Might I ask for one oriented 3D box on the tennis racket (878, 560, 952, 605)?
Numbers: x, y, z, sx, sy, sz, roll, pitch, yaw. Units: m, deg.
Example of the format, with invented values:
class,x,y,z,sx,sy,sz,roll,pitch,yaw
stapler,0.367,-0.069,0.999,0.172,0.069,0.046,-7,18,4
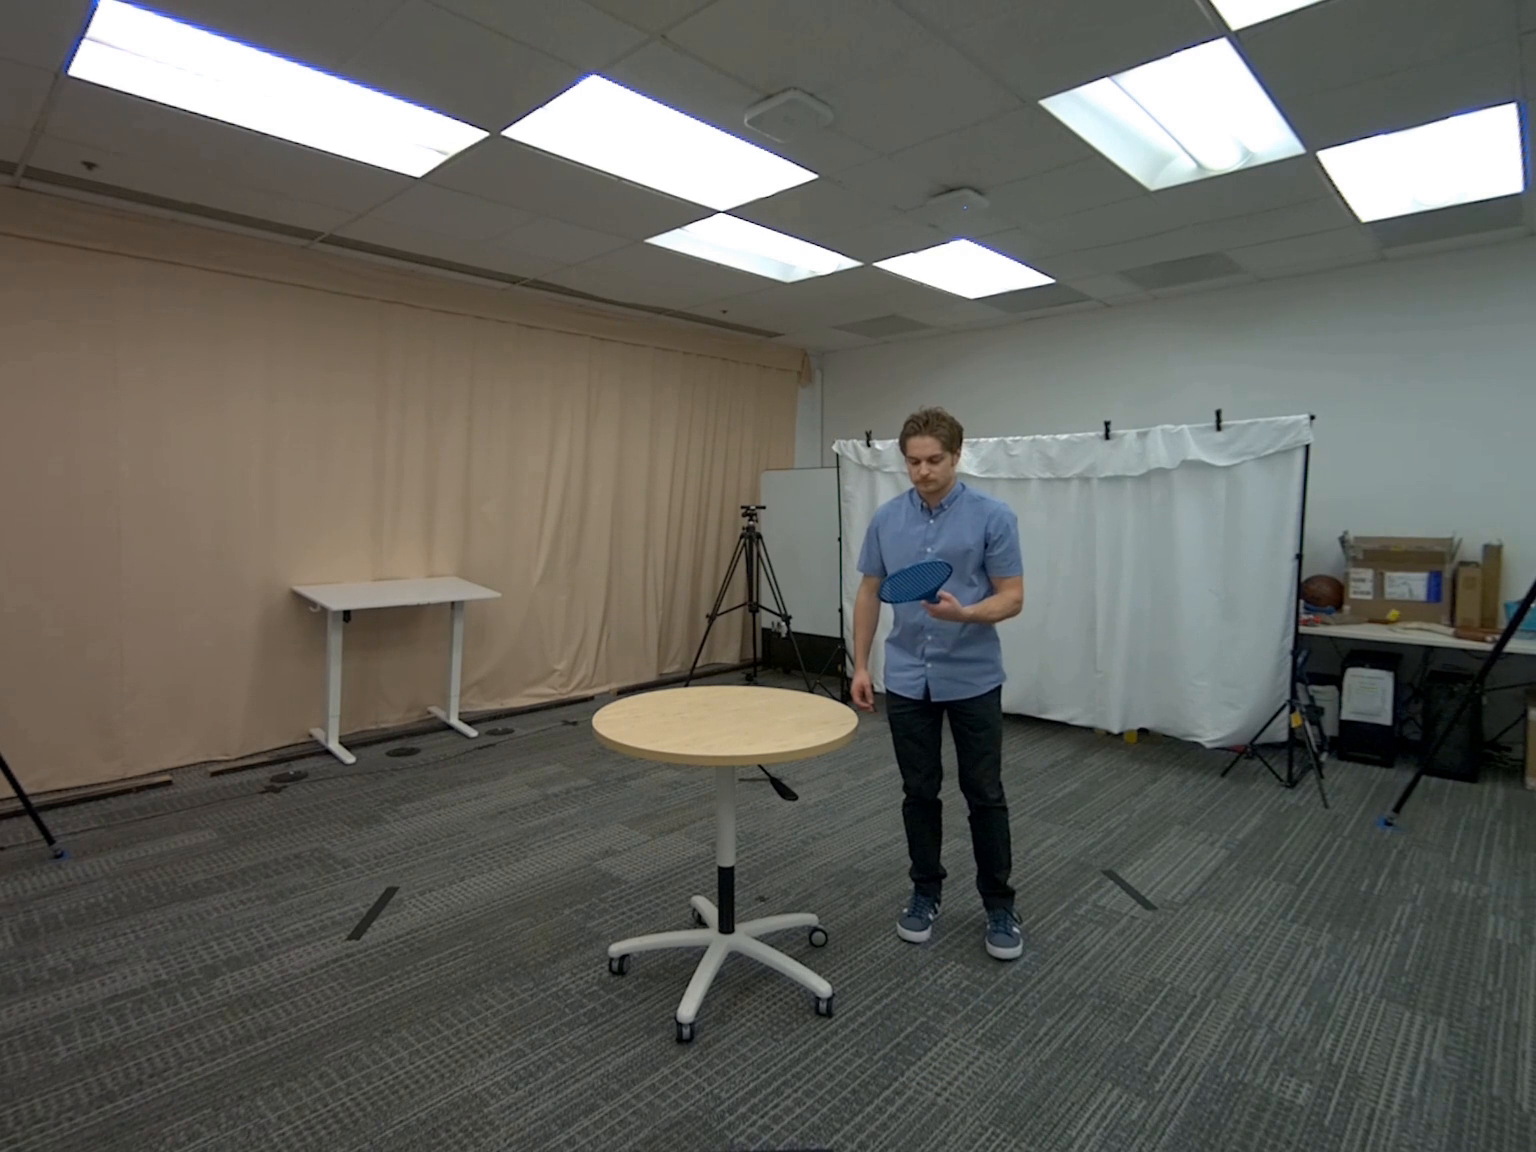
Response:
class,x,y,z,sx,sy,sz,roll,pitch,yaw
tennis racket,0.420,0.038,2.356,0.216,0.032,0.419,-26,-24,14
